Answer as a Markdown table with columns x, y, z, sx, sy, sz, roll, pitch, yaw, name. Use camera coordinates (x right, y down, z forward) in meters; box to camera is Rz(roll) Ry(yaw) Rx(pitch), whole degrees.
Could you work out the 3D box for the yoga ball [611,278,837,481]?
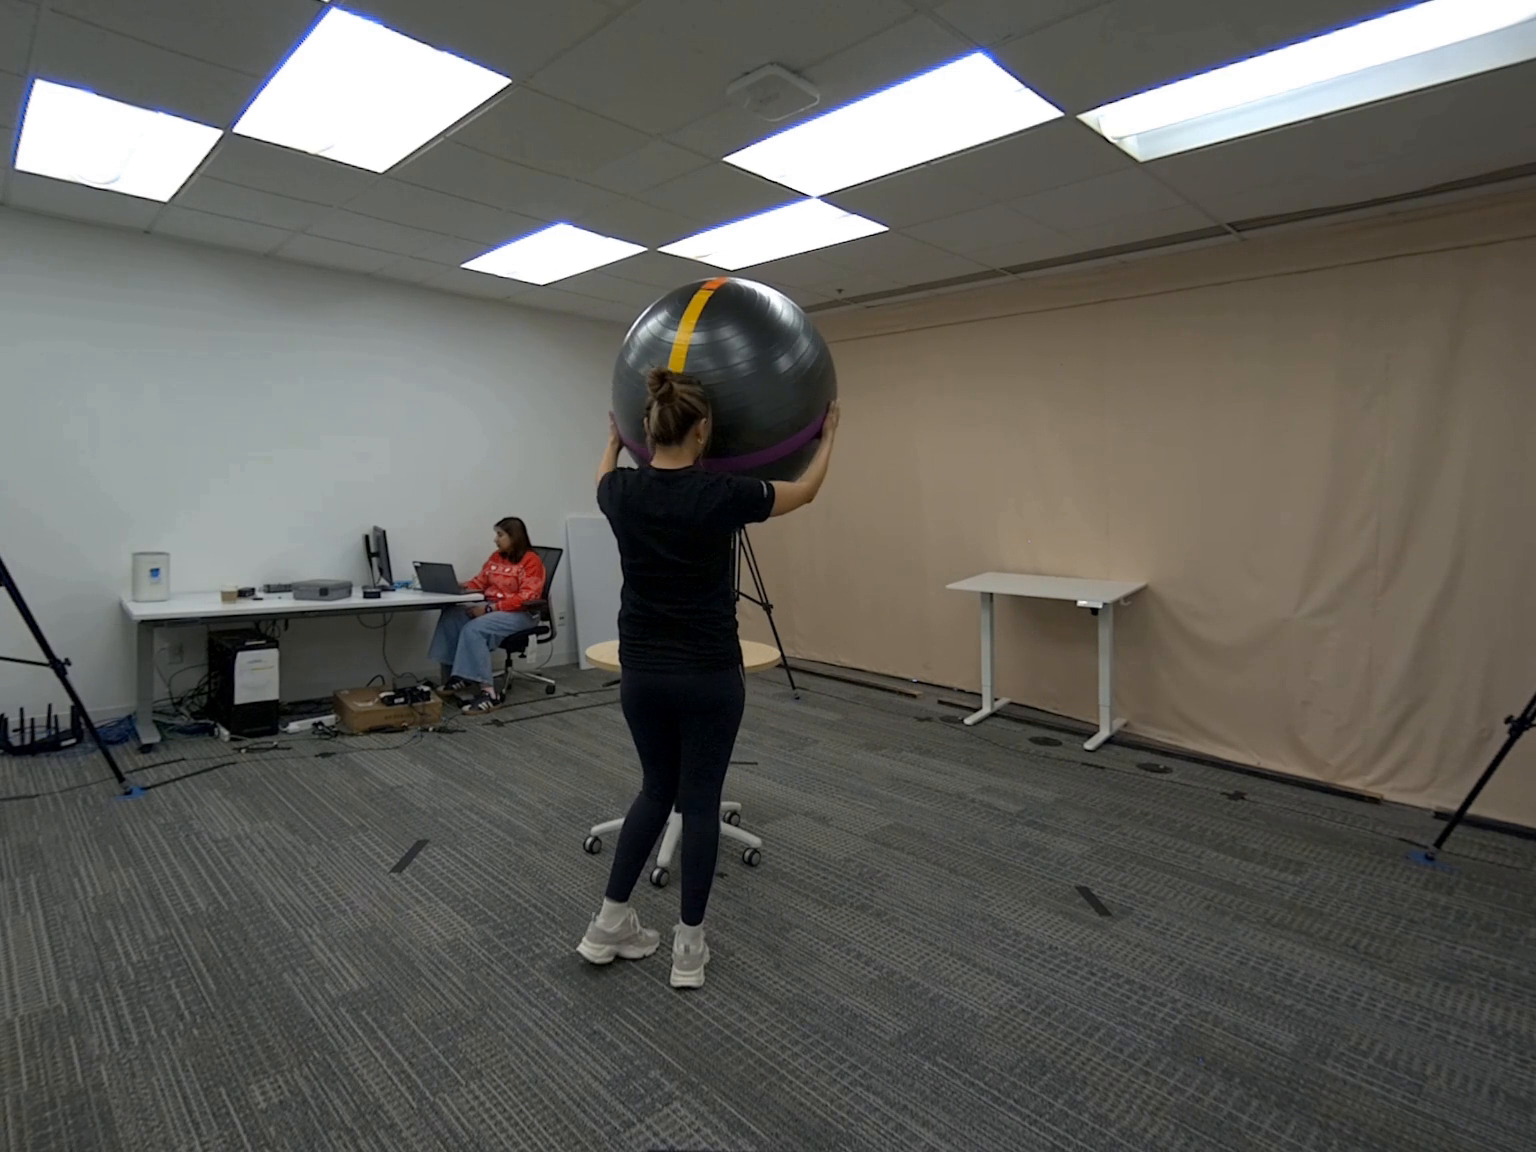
| x | y | z | sx | sy | sz | roll | pitch | yaw | name |
| --- | --- | --- | --- | --- | --- | --- | --- | --- | --- |
| -0.147 | -0.602 | 2.830 | 0.757 | 0.756 | 0.761 | 1 | 4 | -1 | yoga ball |
